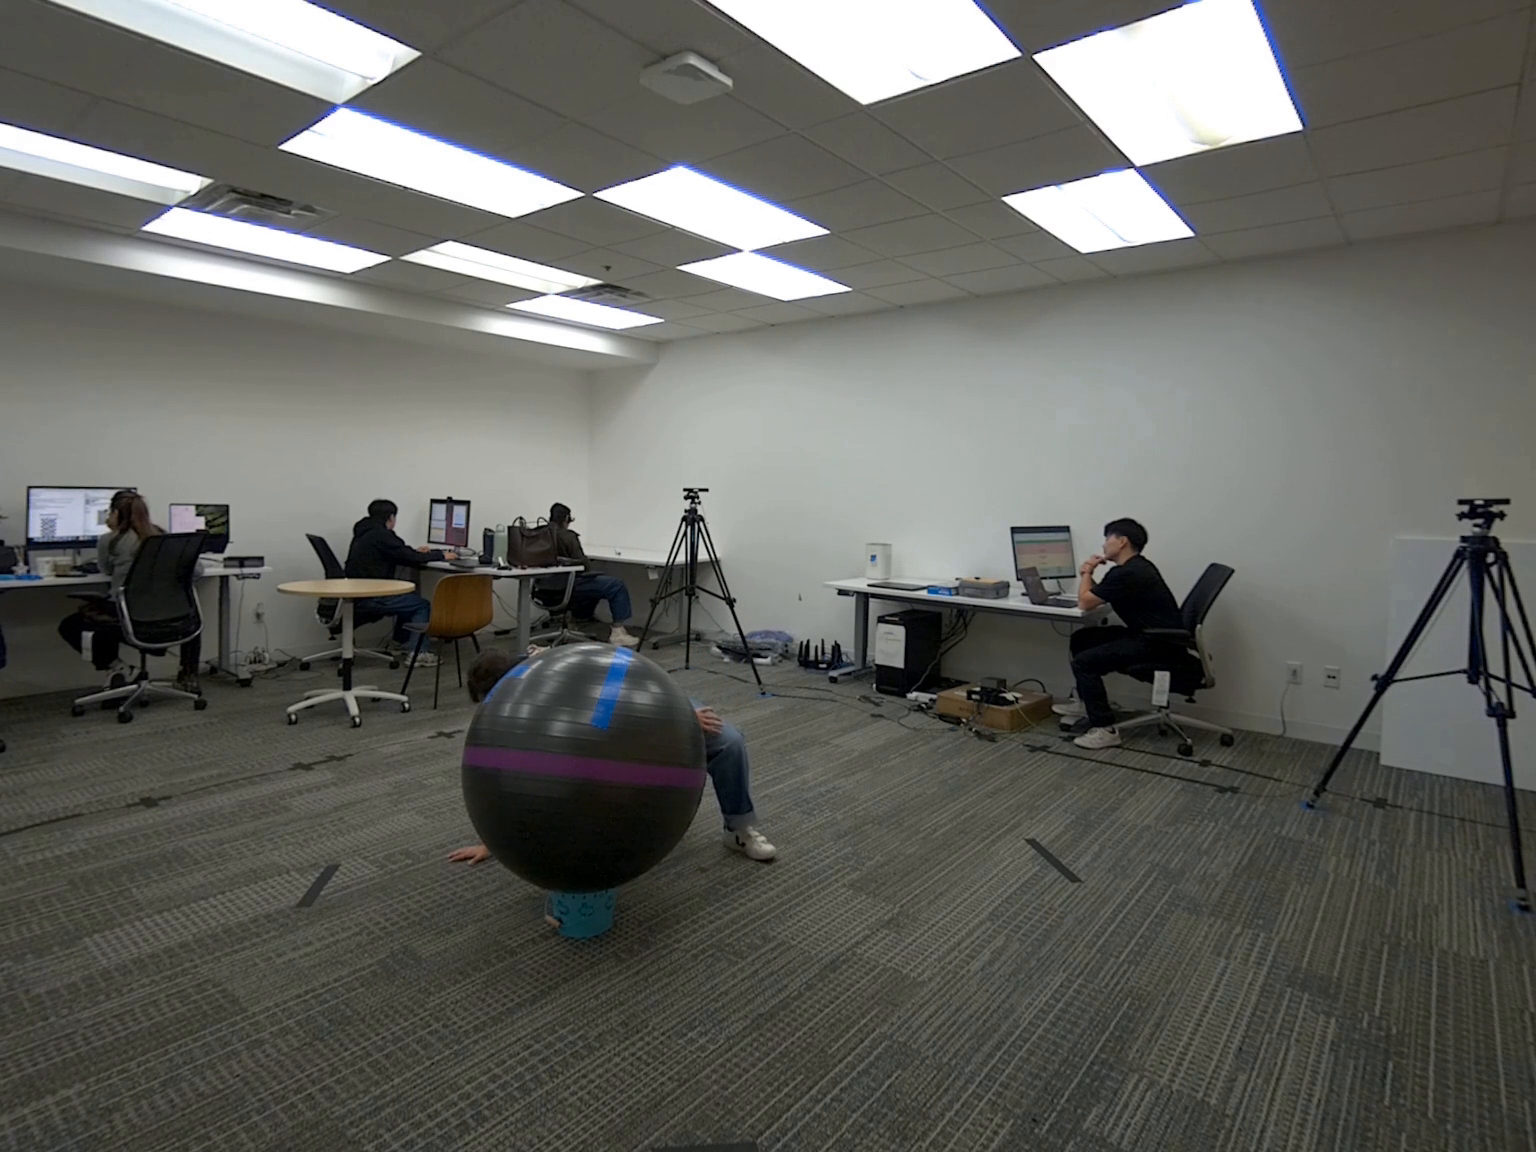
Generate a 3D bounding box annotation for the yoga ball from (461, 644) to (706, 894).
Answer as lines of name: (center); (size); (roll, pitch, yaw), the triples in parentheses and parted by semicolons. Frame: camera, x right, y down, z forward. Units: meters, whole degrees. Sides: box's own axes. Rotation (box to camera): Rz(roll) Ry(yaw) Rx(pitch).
yoga ball: (-0.592, 0.597, 2.684); (0.757, 0.756, 0.761); (1, 4, -2)
